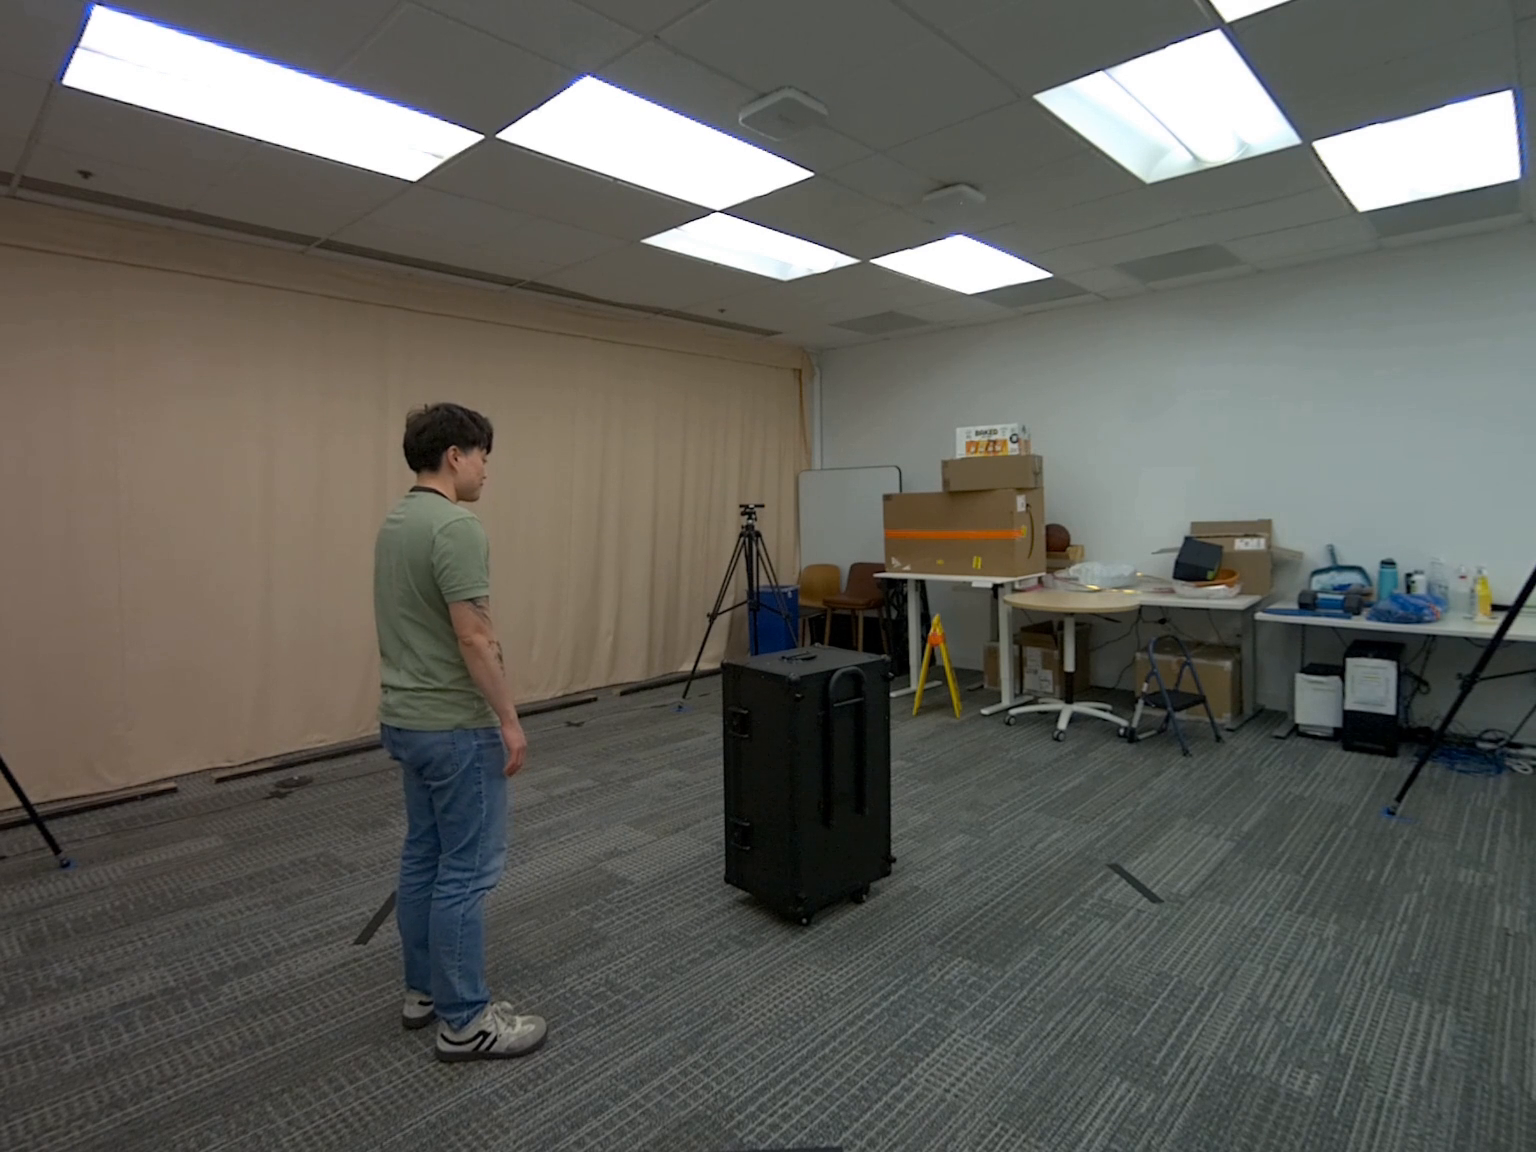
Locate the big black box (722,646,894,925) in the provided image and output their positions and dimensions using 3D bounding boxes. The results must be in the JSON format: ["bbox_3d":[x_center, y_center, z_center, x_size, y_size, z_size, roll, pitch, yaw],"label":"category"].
[{"bbox_3d":[0.157,0.714,2.945,0.505,0.859,0.409,-4,5,-42],"label":"big black box"}]
